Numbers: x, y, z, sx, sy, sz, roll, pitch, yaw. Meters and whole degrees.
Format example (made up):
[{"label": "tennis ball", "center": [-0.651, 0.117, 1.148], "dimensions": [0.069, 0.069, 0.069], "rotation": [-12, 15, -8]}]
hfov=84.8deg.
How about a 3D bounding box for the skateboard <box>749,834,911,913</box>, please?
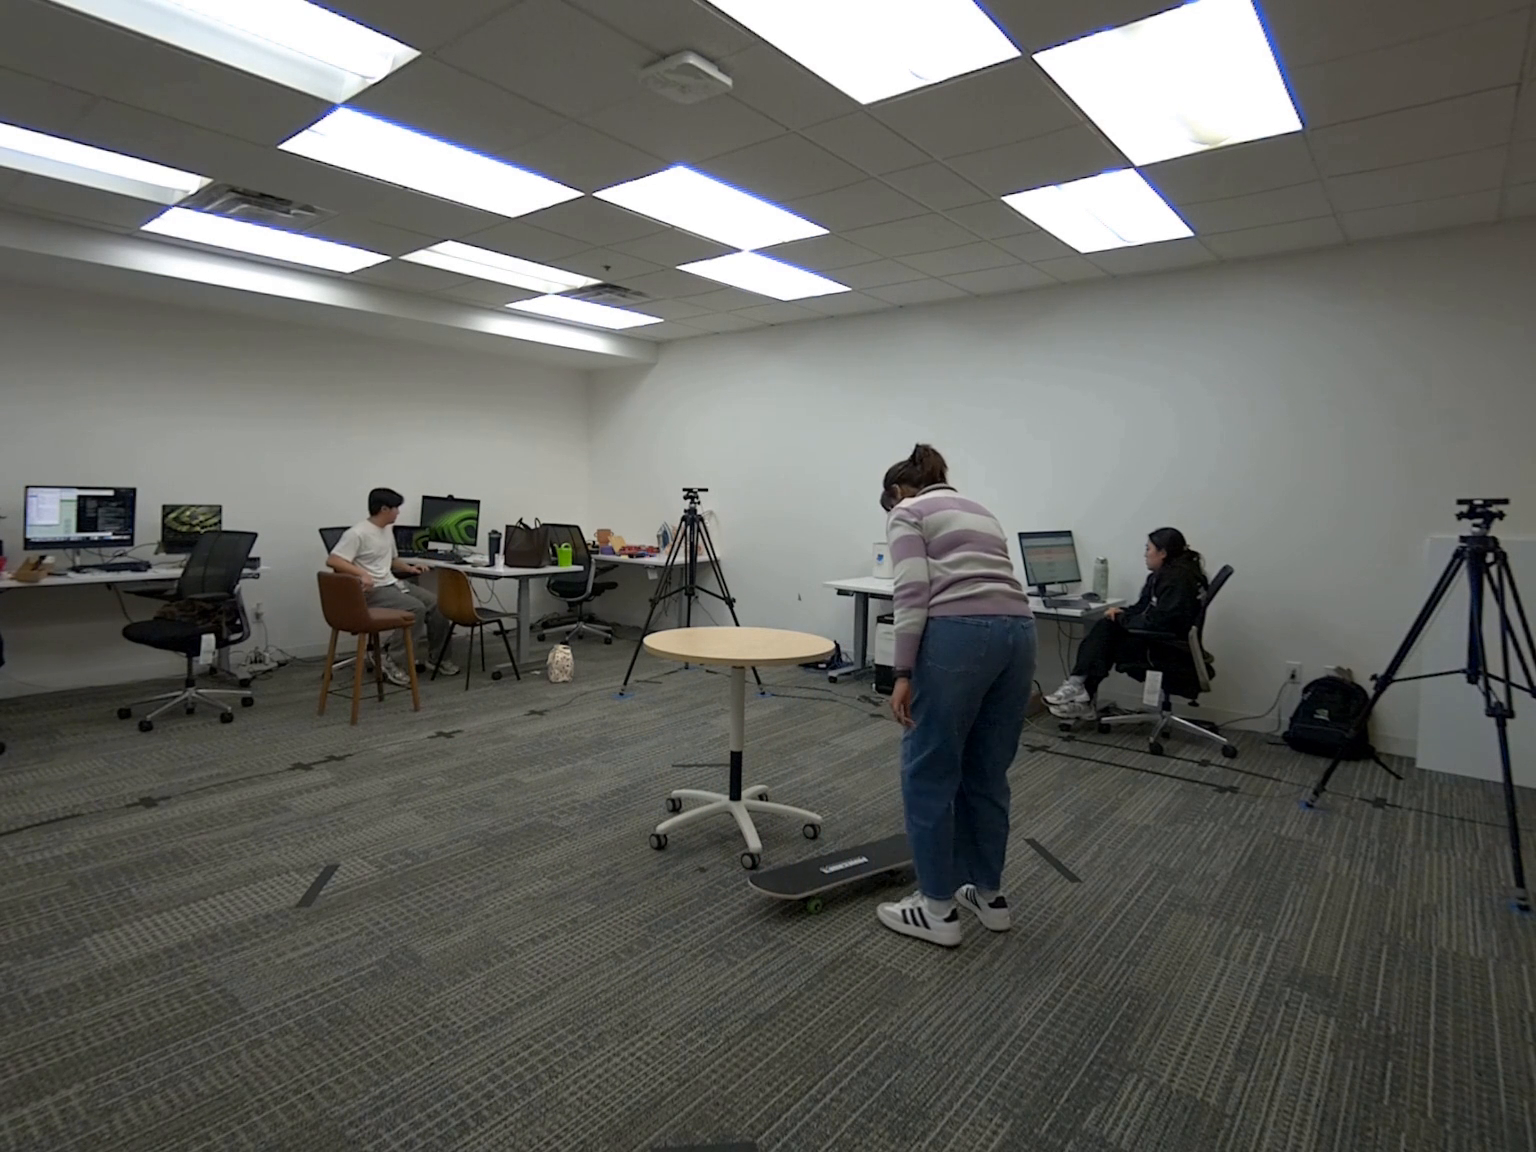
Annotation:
[{"label": "skateboard", "center": [0.264, 1.038, 2.975], "dimensions": [0.763, 0.110, 0.200], "rotation": [-2, 6, -34]}]
